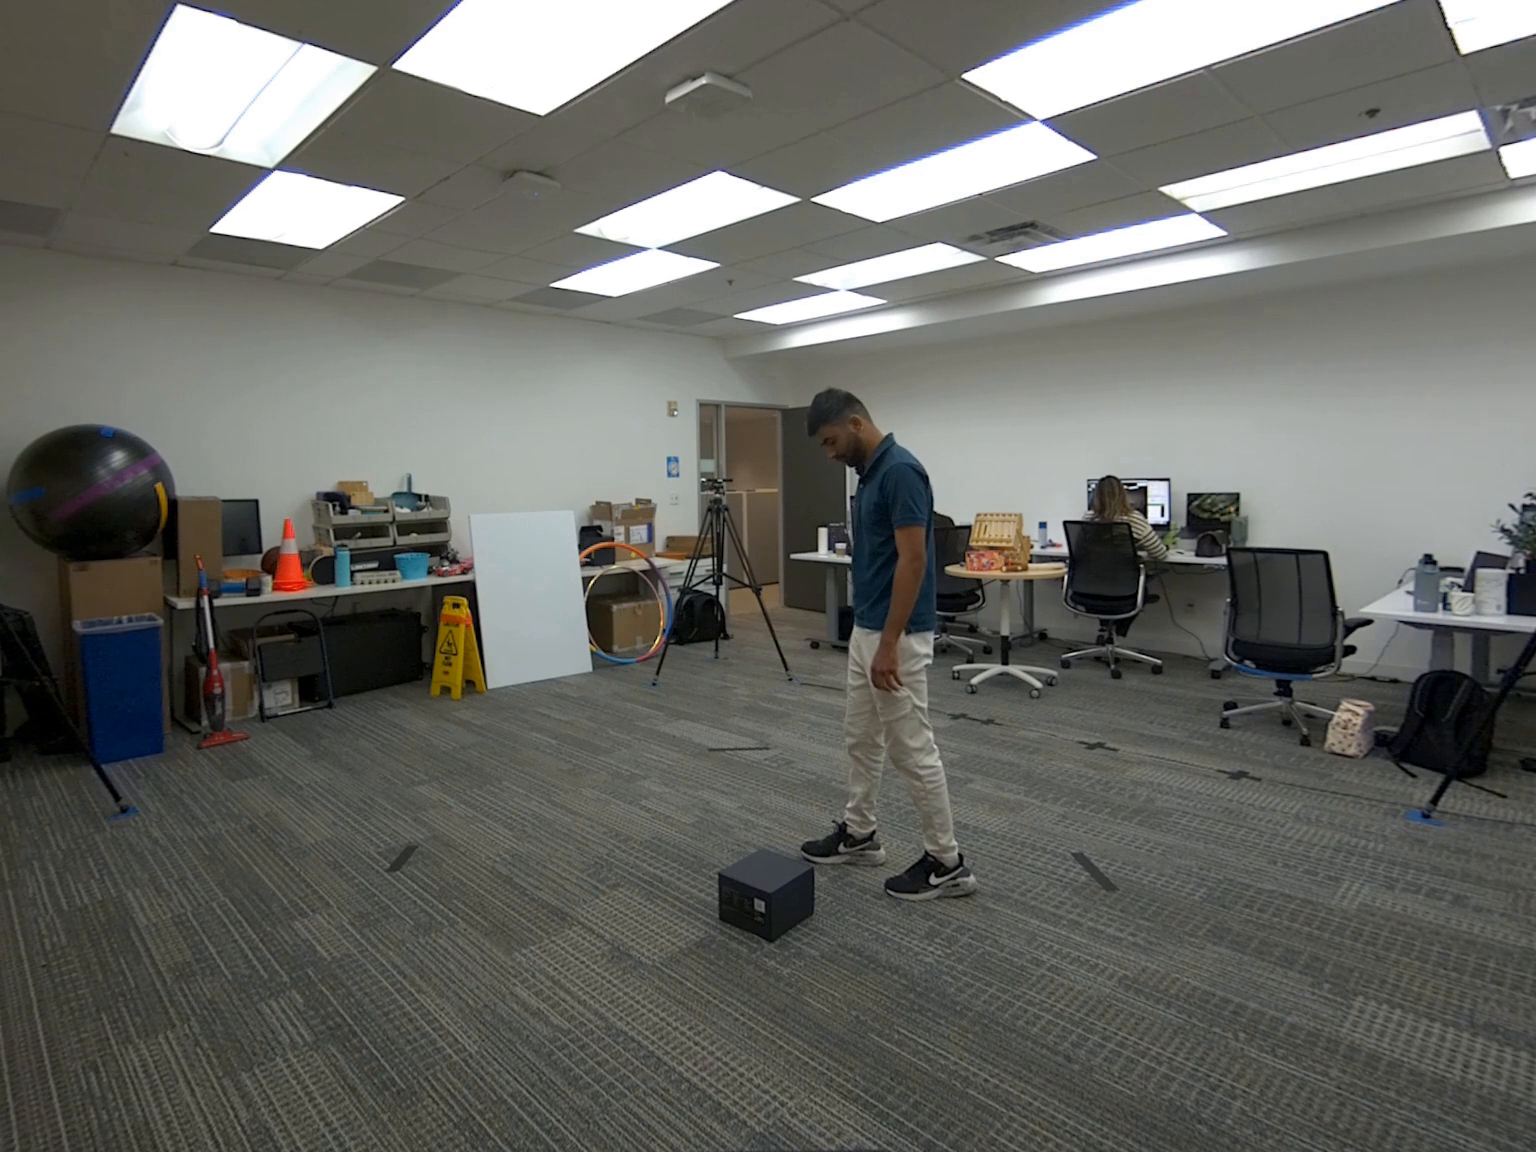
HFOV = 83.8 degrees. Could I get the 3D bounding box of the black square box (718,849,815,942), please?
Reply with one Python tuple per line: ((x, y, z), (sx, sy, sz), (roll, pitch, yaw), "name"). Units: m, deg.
((-0.001, 1.003, 2.720), (0.223, 0.155, 0.222), (4, 8, 40), "black square box")
